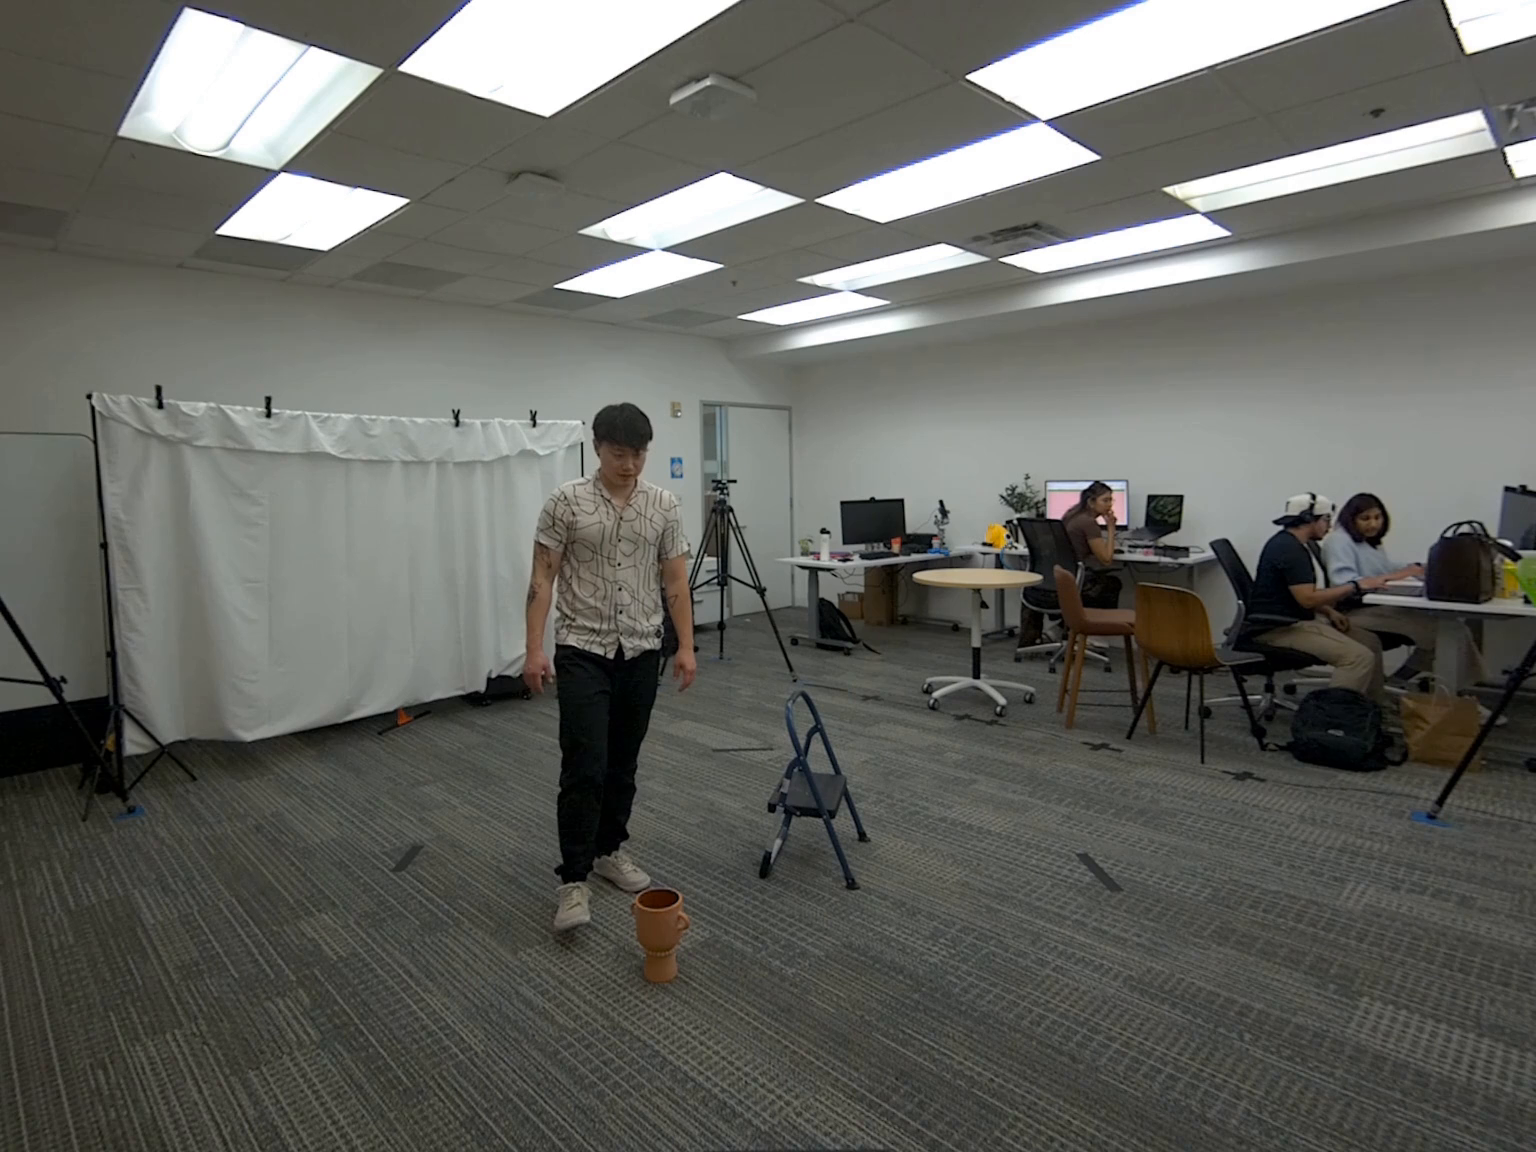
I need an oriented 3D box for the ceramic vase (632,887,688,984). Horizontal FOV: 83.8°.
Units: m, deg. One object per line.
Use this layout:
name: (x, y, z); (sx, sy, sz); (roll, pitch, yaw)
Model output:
ceramic vase: (-0.300, 1.021, 2.424); (0.132, 0.219, 0.163); (-2, 5, -24)
